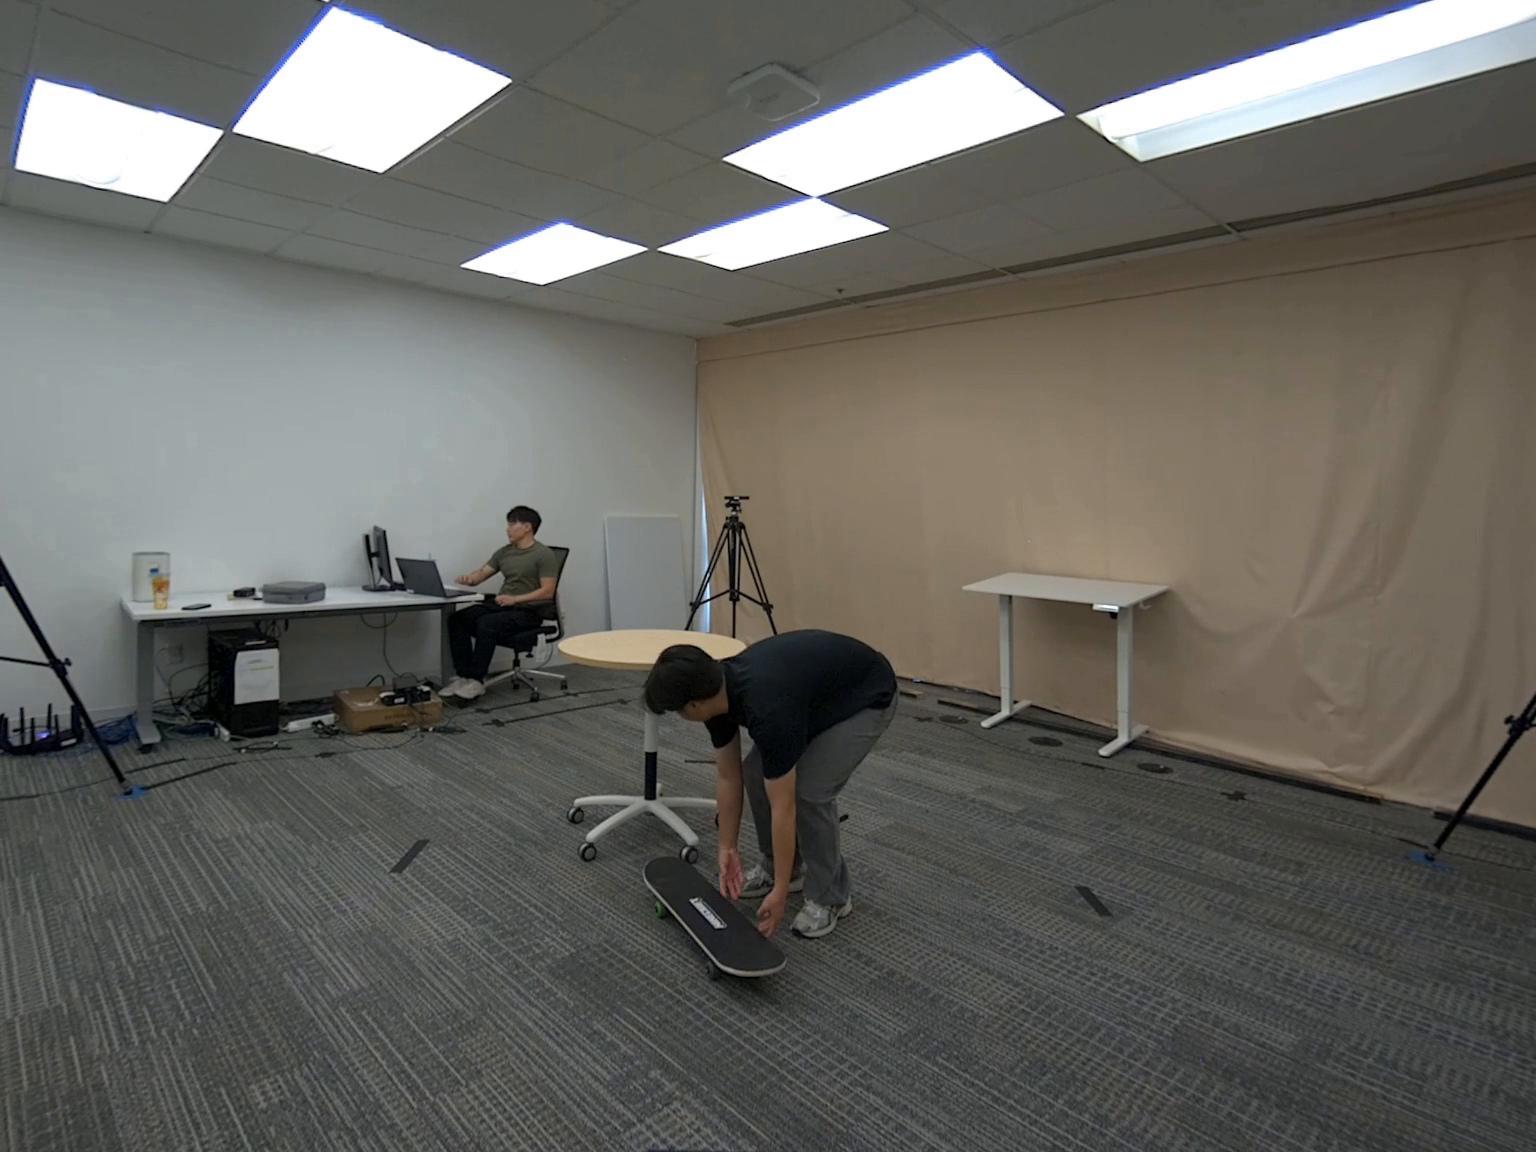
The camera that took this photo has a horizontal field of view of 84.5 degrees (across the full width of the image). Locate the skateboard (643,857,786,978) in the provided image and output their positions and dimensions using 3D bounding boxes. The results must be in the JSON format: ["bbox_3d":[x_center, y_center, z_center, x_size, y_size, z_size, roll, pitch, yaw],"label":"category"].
[{"bbox_3d":[-0.190,1.086,2.642,0.190,0.110,0.803,-3,6,-29],"label":"skateboard"}]
